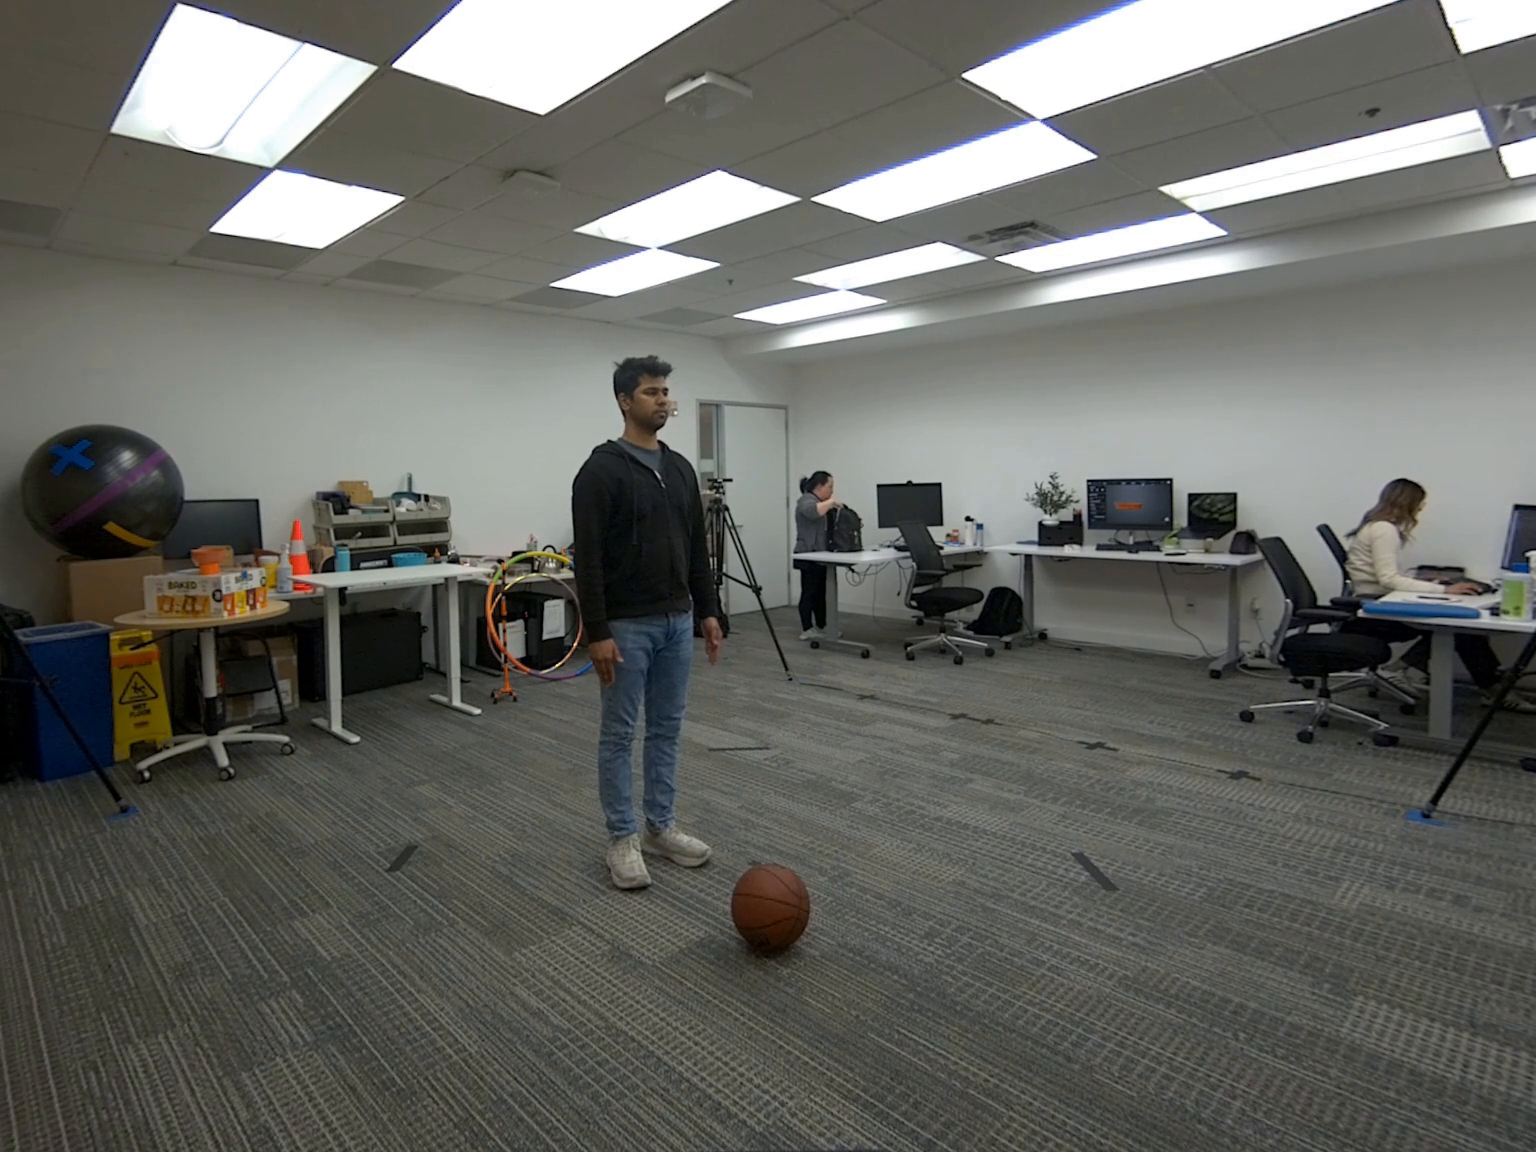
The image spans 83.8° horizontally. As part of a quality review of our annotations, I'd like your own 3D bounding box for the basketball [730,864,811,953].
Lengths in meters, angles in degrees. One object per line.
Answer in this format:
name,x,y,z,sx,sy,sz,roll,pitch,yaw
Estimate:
basketball,0.014,0.989,2.557,0.236,0.235,0.237,-1,5,-2
